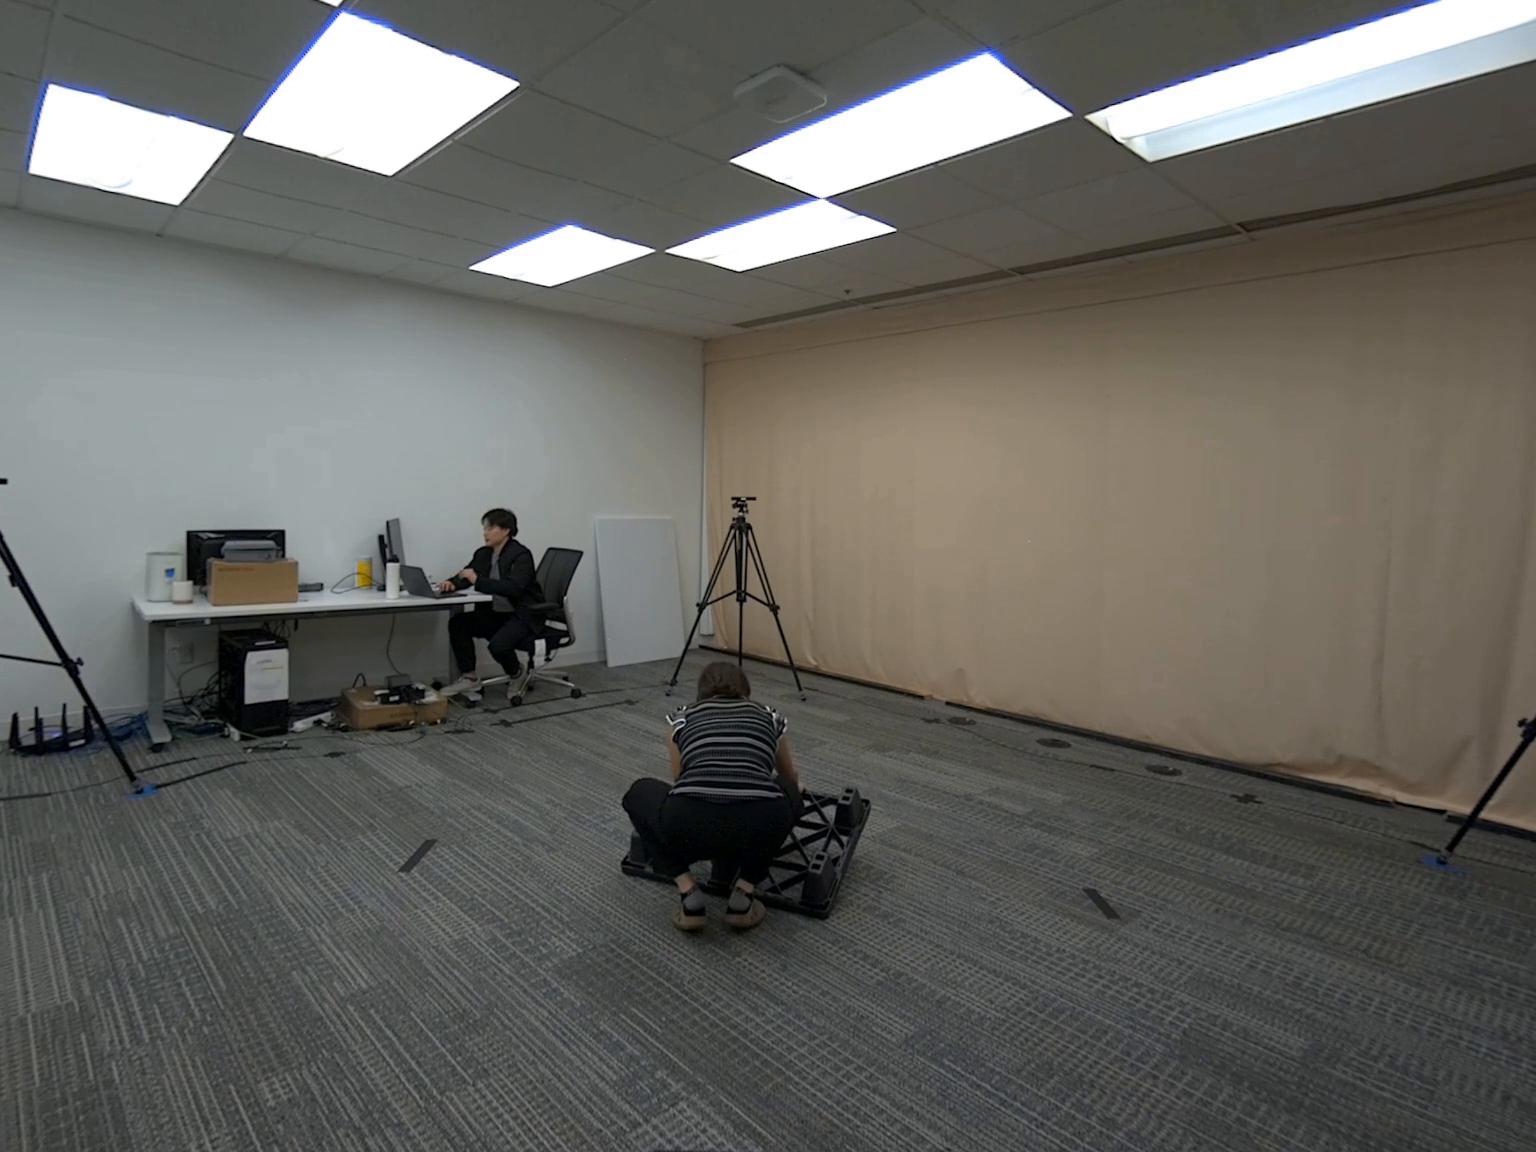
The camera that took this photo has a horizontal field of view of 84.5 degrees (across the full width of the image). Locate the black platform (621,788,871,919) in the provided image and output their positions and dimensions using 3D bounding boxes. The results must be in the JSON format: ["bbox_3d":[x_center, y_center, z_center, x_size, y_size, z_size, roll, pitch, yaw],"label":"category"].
[{"bbox_3d":[-0.082,0.946,3.173,0.820,0.141,0.604,3,24,23],"label":"black platform"}]
